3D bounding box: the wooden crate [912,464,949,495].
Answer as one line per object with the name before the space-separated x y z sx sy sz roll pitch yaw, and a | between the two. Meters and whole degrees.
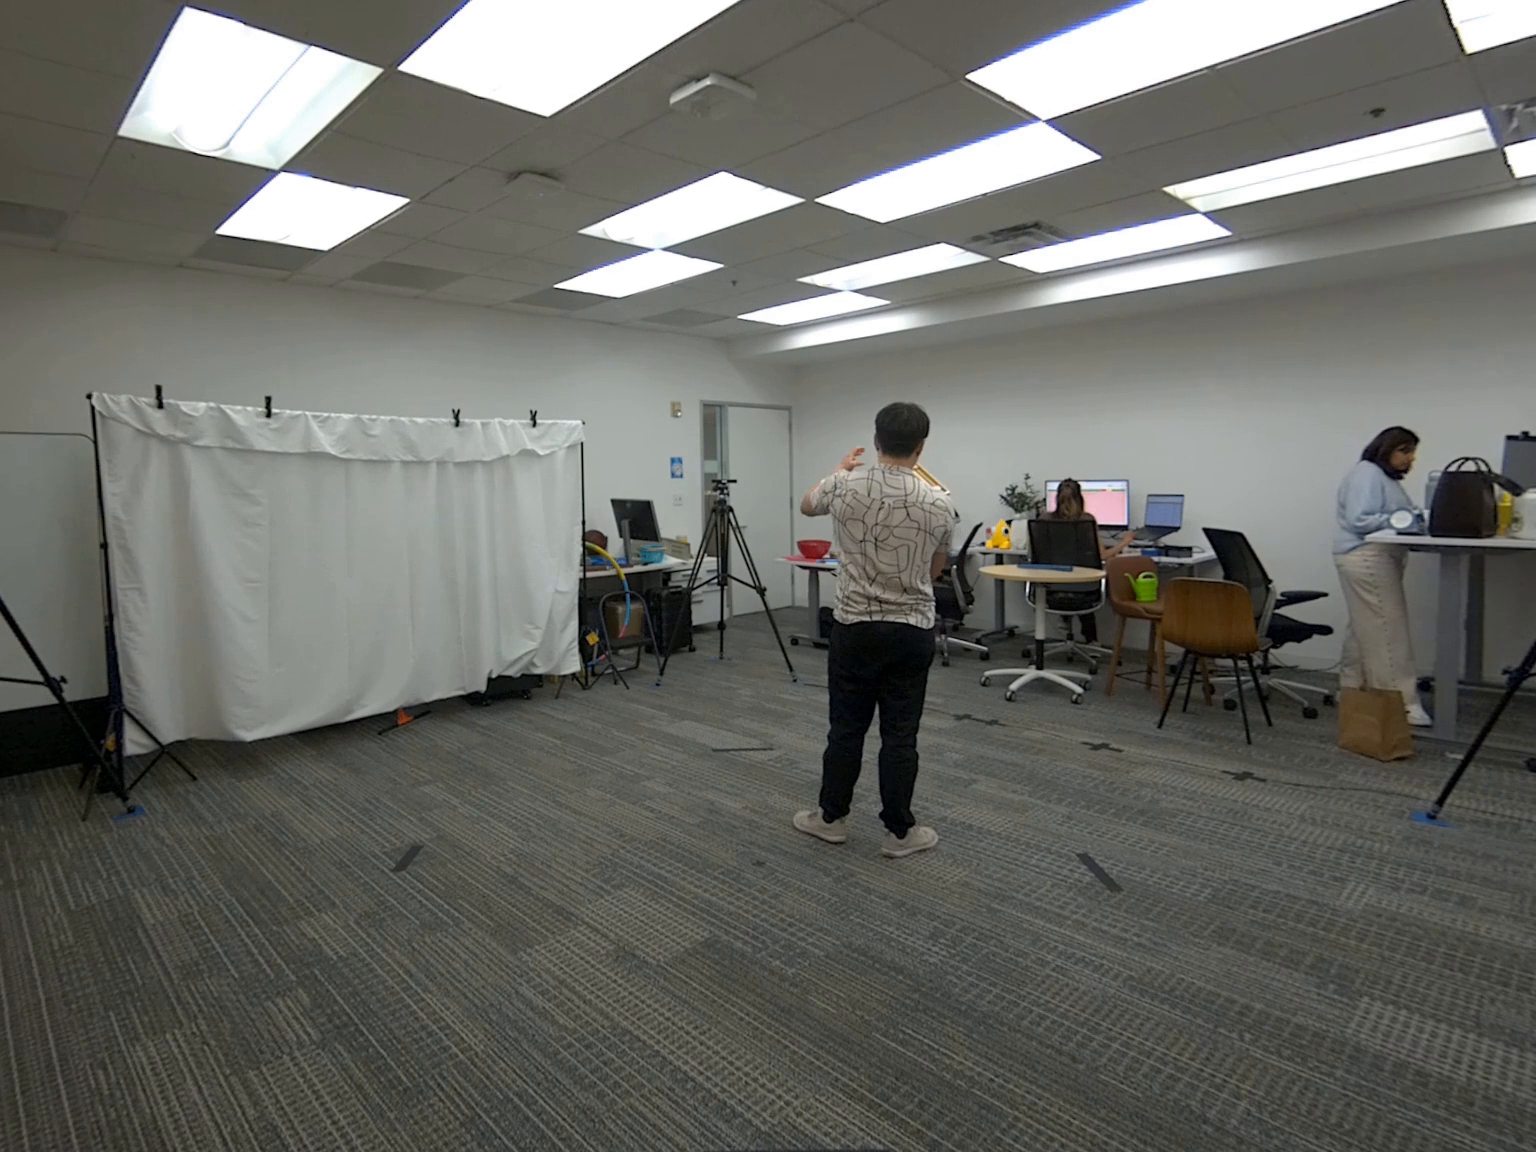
wooden crate | 0.553 -0.298 3.594 0.311 0.271 0.318 47 36 22
